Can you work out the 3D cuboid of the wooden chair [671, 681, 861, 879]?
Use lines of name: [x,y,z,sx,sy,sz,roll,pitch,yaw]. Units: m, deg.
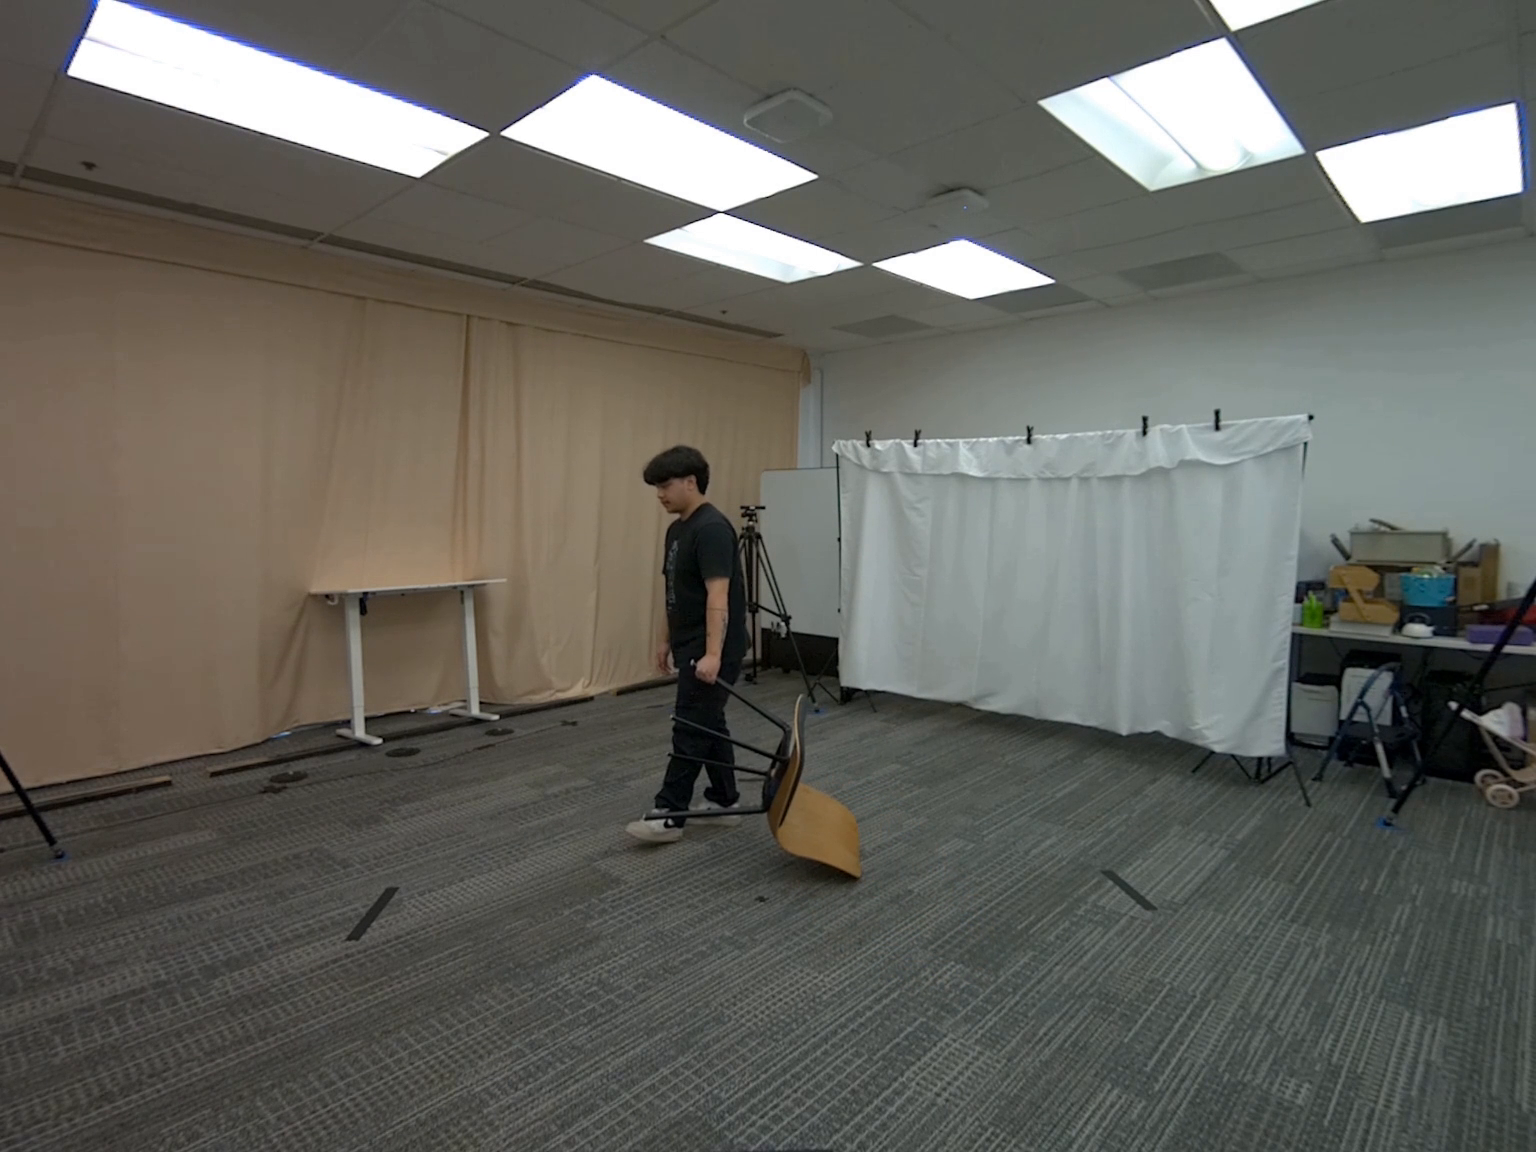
wooden chair: [0.037,0.735,3.200,0.879,0.521,0.479,21,20,1]
